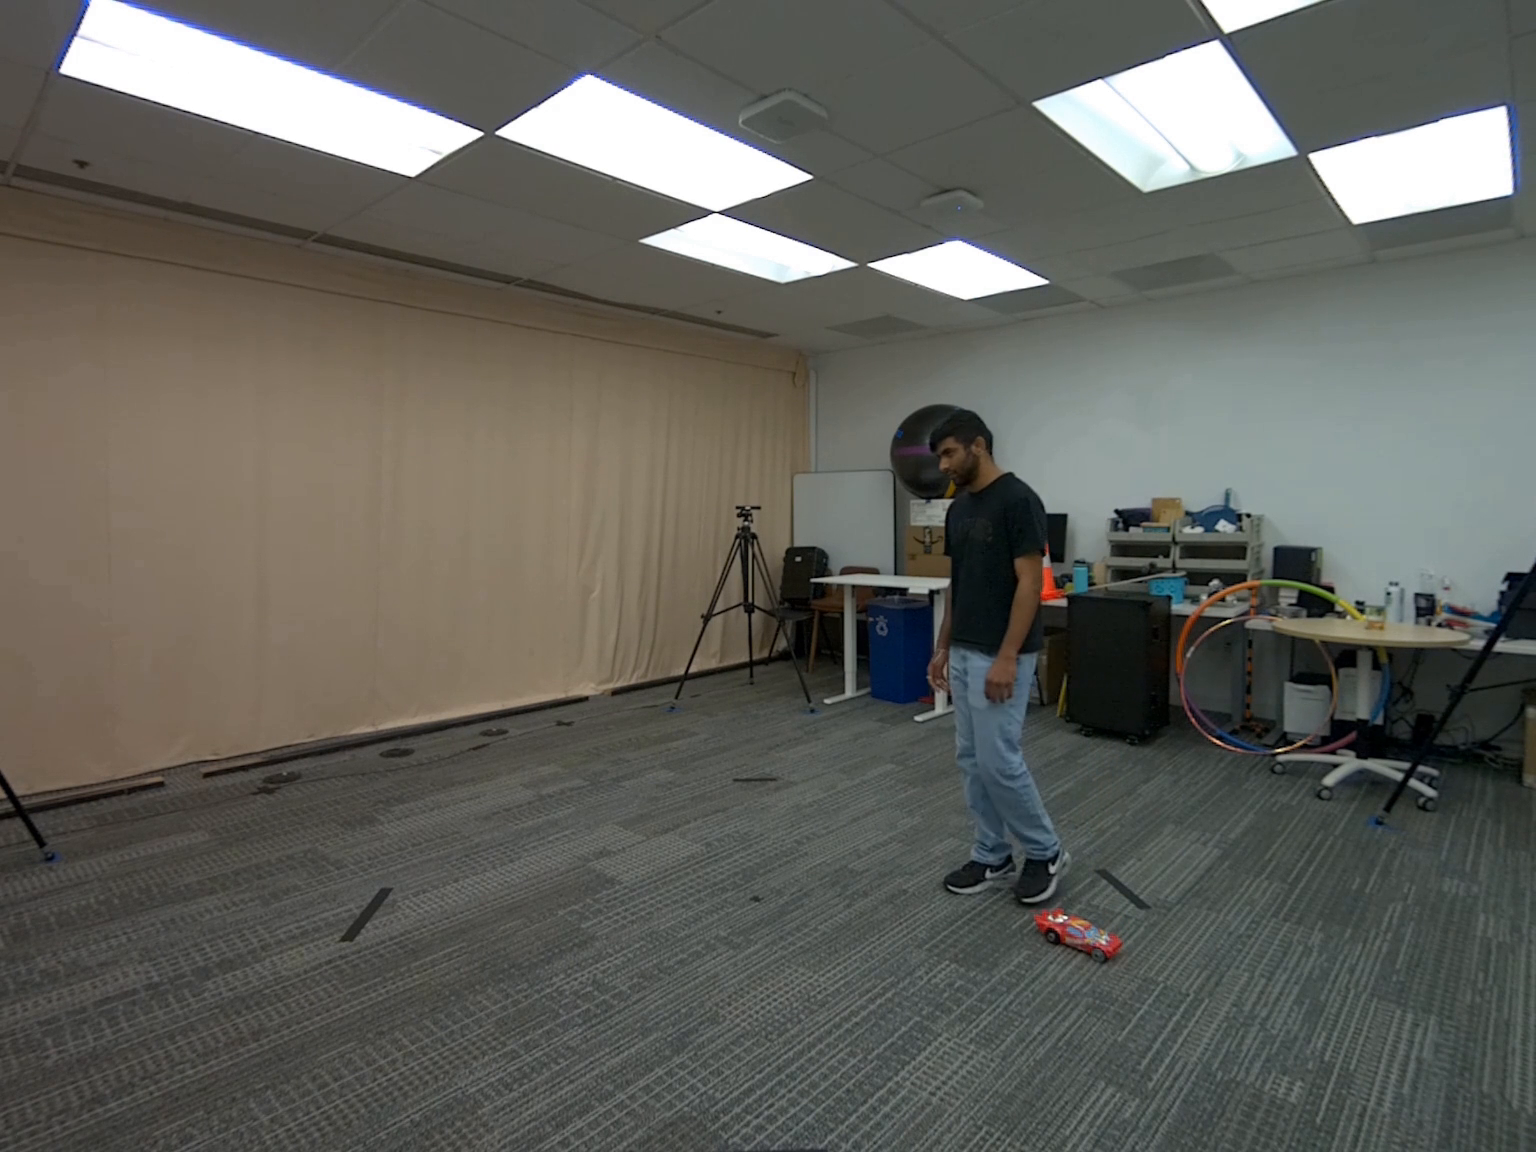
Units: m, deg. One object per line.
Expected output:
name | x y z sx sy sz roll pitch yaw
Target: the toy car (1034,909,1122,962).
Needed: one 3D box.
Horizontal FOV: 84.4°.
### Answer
toy car | 0.975 1.131 2.670 0.126 0.083 0.264 -6 18 -43
